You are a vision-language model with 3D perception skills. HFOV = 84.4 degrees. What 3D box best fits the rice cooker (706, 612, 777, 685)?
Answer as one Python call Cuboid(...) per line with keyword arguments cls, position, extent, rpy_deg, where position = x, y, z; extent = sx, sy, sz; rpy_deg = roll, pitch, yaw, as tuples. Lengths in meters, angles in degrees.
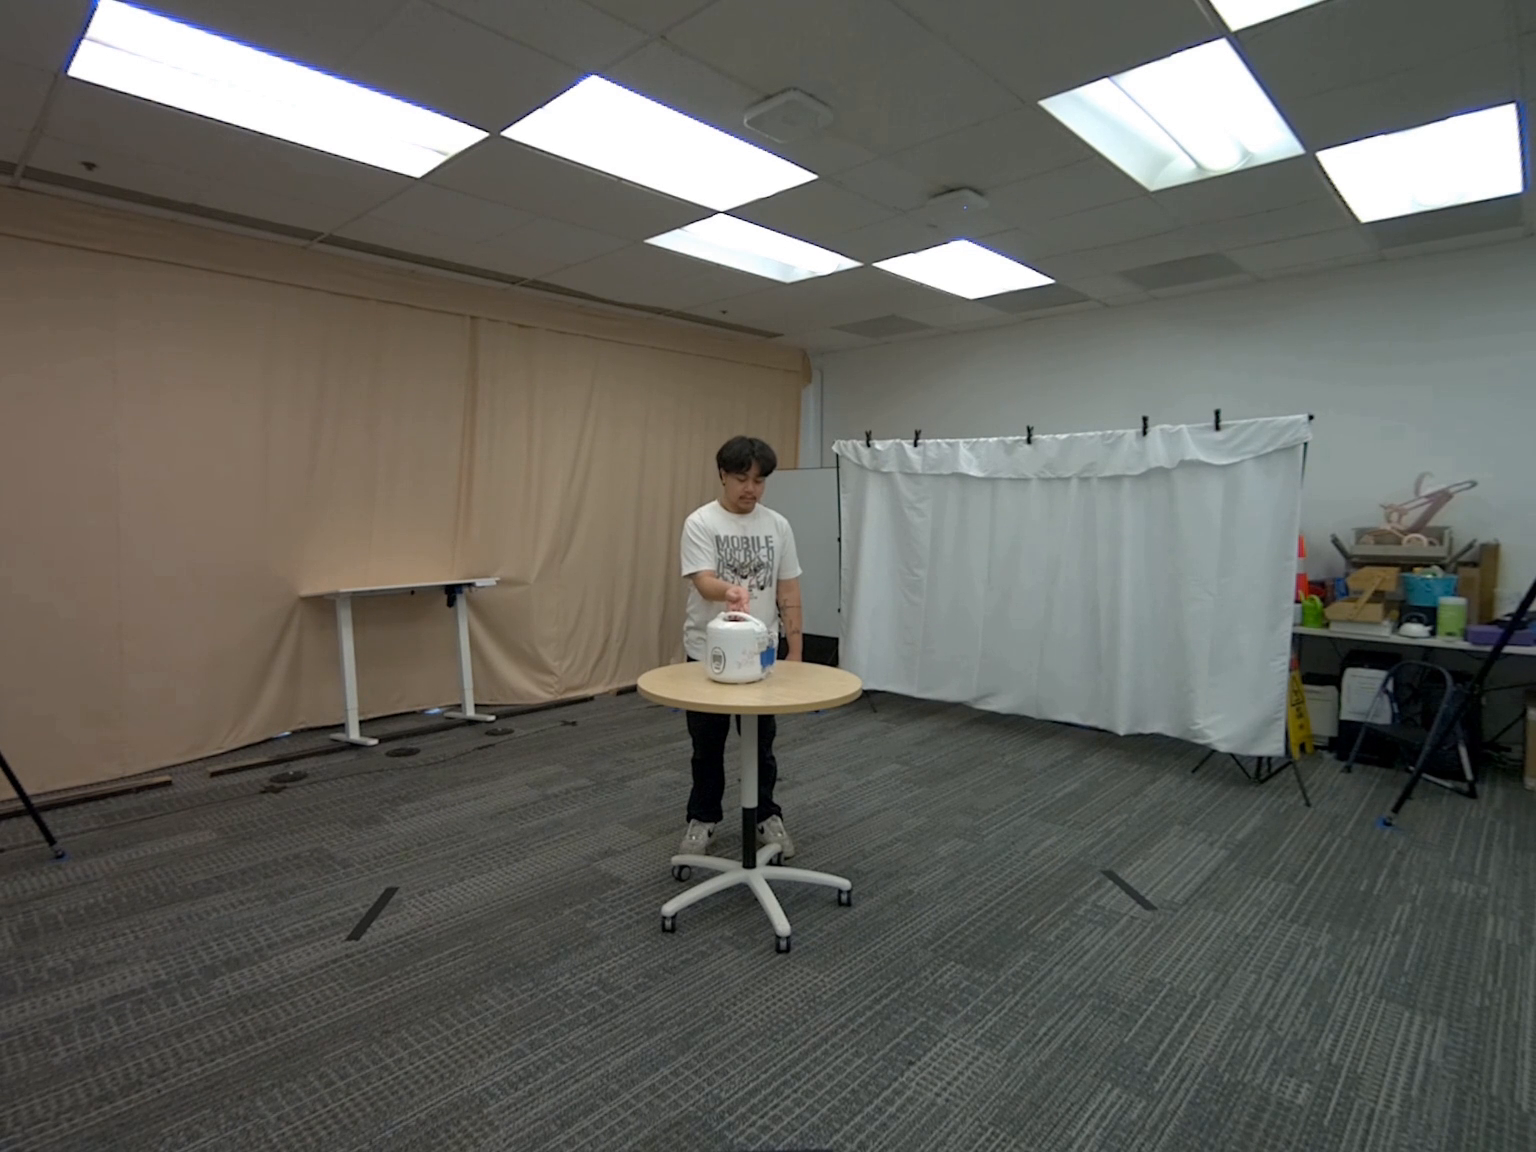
Cuboid(cls="rice cooker", position=(-0.109, 0.235, 2.883), extent=(0.228, 0.232, 0.211), rpy_deg=(4, 4, 36))
